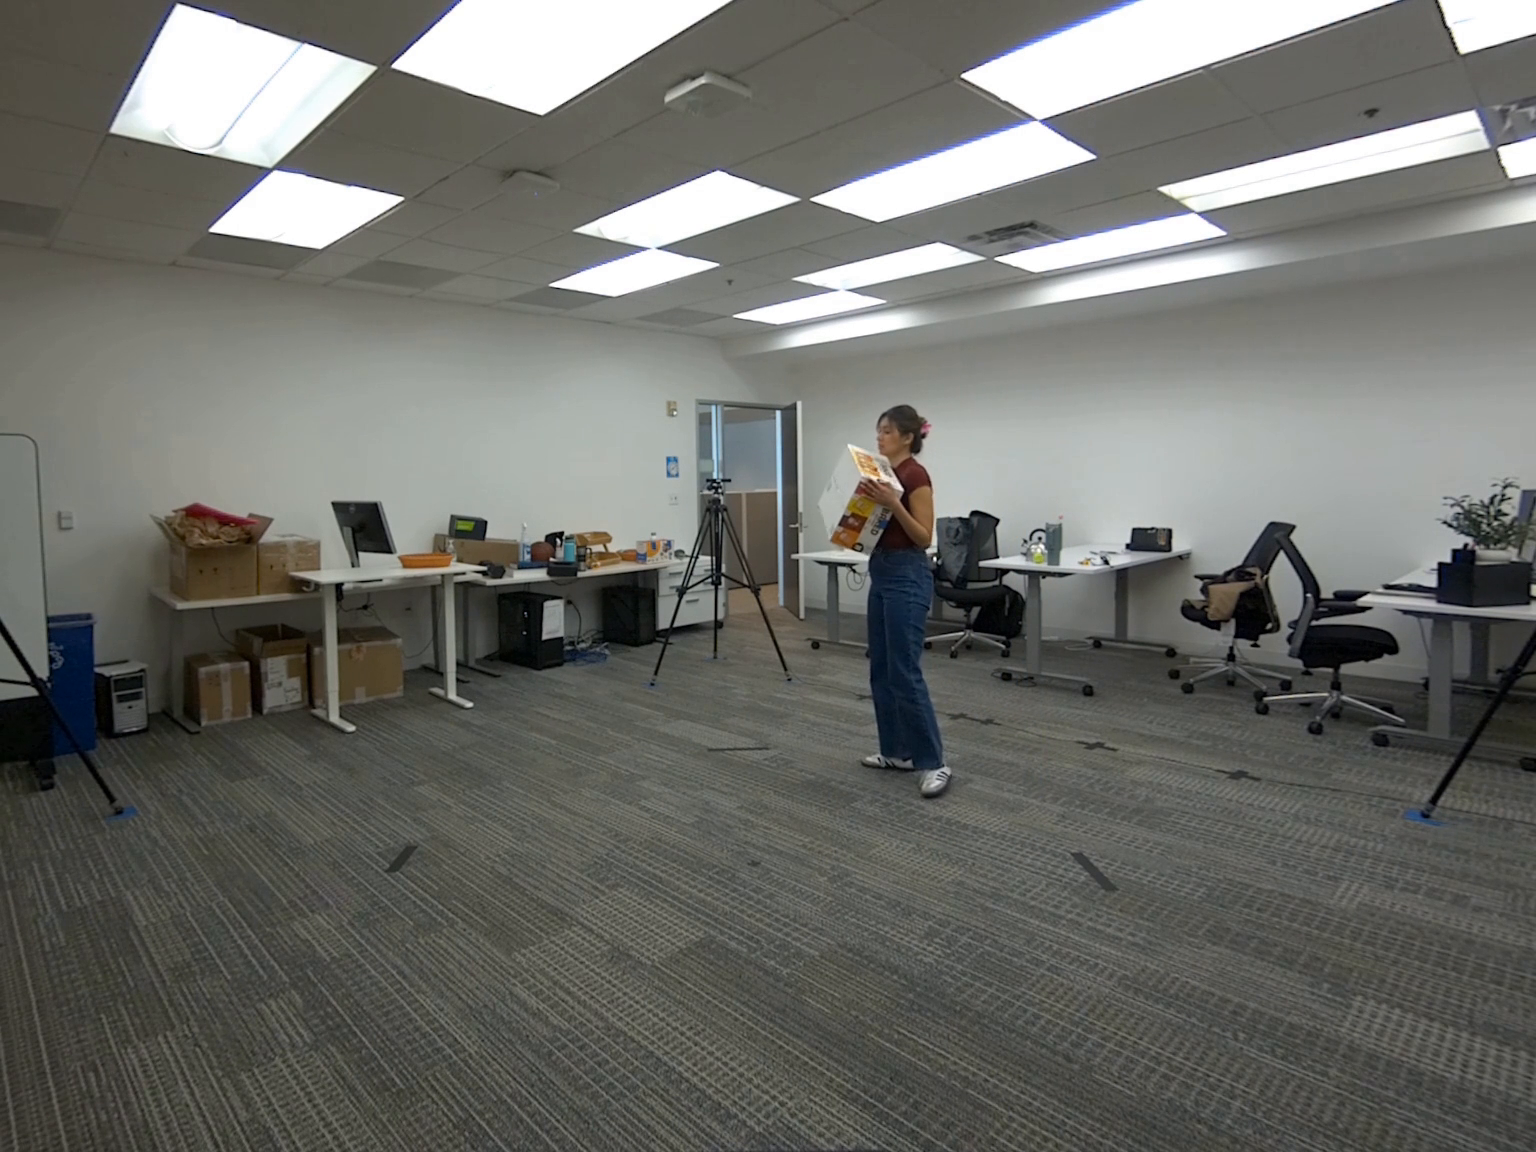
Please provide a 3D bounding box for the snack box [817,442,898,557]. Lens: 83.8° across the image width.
[{"bbox_3d":[0.421,-0.356,3.917,0.202,0.337,0.416,19,25,-15],"label":"snack box"}]
